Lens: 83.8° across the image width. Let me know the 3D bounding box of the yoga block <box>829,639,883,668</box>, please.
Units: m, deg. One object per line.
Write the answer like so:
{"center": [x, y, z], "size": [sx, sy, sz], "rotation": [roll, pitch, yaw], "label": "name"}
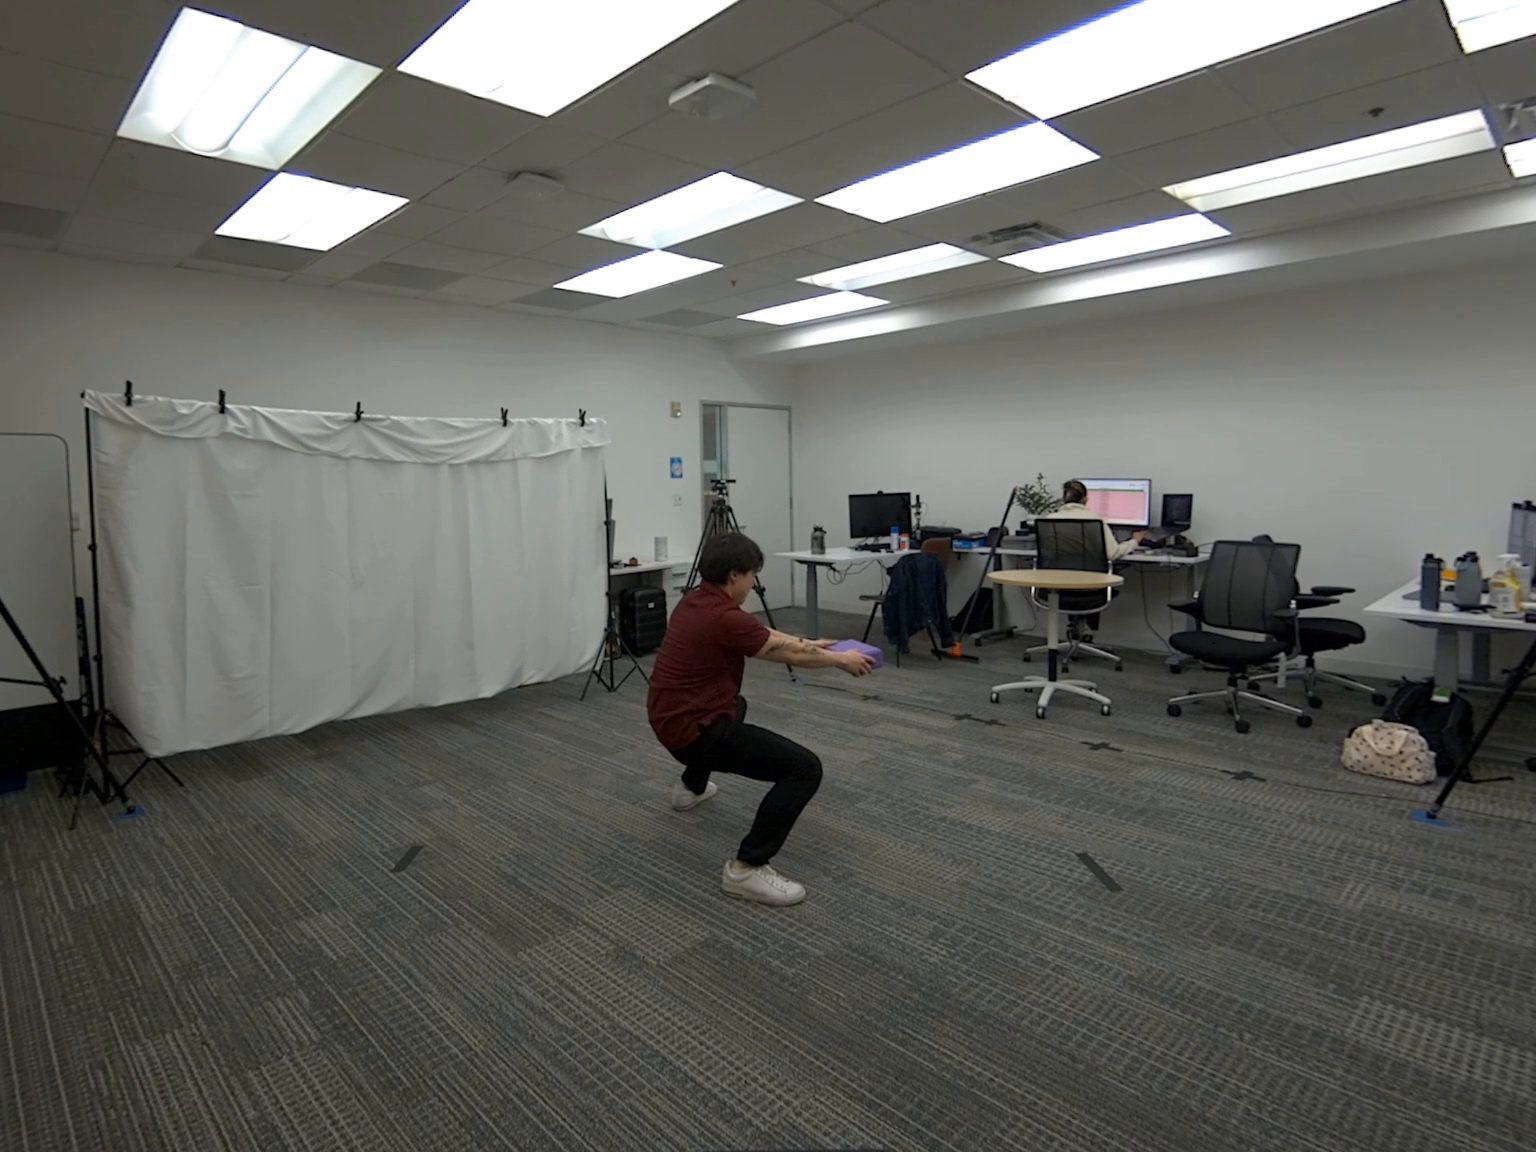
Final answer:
{"center": [0.343, 0.311, 3.455], "size": [0.146, 0.076, 0.235], "rotation": [-11, 11, -24], "label": "yoga block"}
